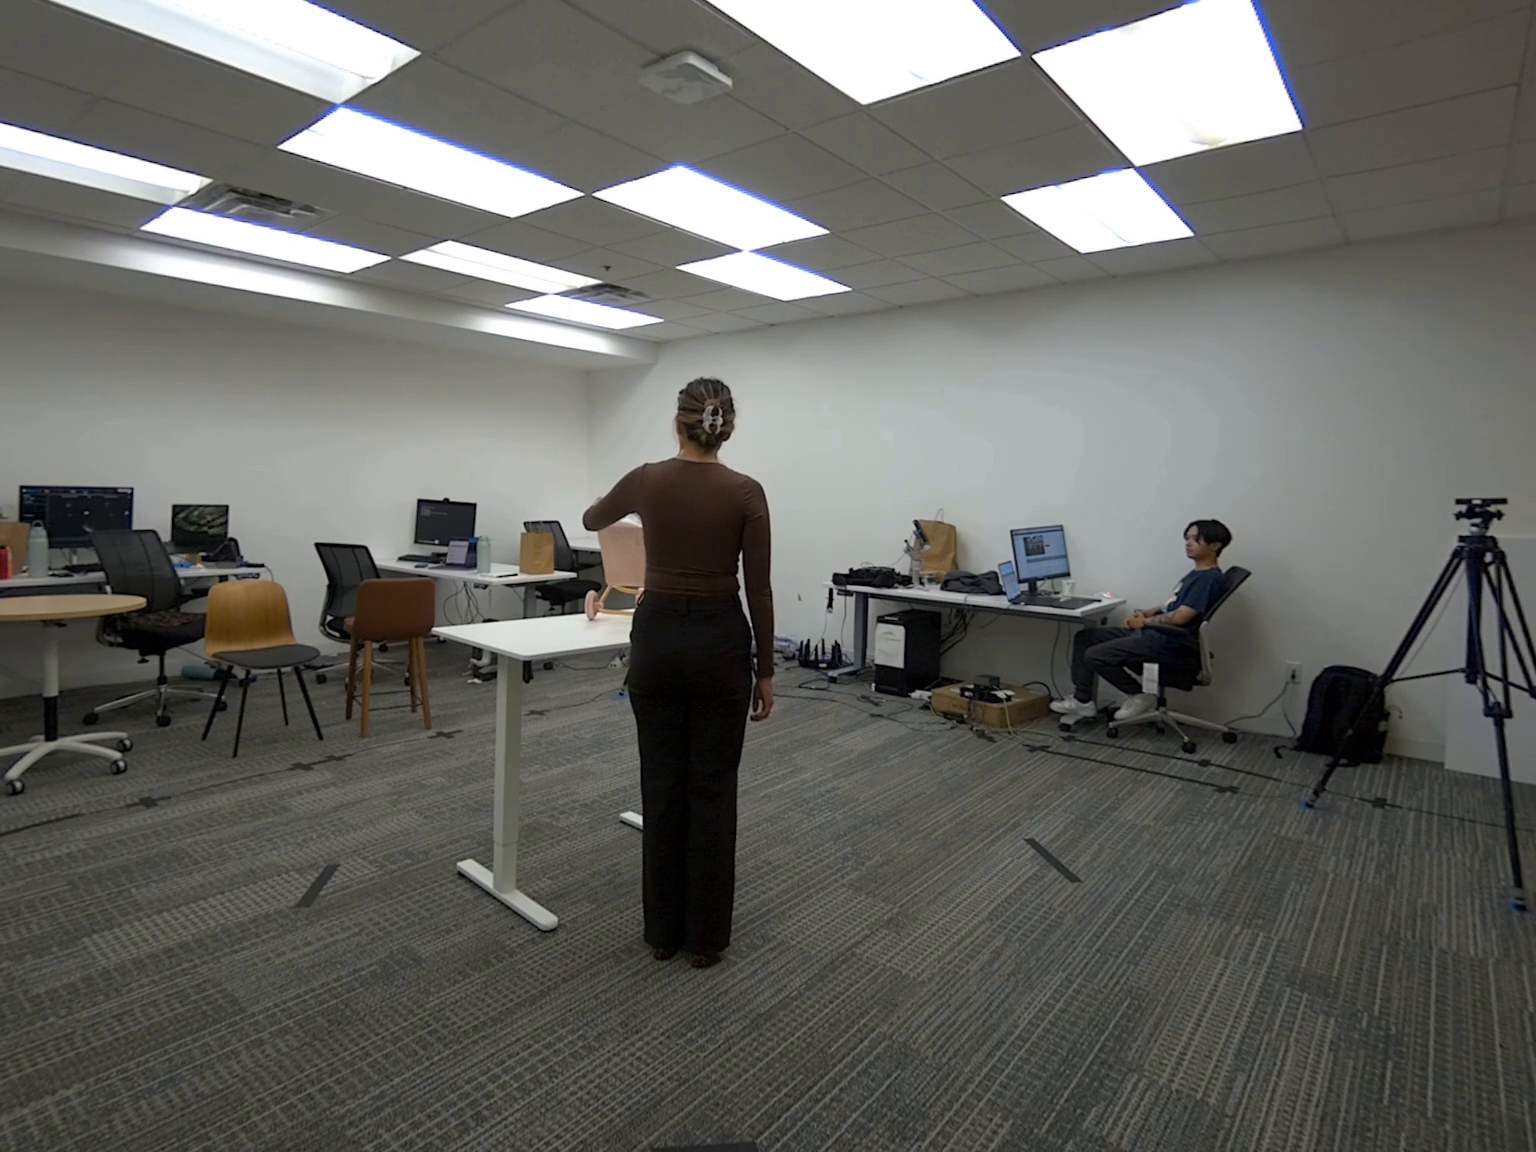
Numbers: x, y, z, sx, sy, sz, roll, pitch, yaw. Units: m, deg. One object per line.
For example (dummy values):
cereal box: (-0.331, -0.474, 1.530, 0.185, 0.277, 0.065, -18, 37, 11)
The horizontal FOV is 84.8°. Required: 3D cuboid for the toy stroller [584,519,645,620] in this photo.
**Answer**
toy stroller: (-0.549, -0.057, 3.291, 0.286, 0.526, 0.341, 4, 18, 13)
